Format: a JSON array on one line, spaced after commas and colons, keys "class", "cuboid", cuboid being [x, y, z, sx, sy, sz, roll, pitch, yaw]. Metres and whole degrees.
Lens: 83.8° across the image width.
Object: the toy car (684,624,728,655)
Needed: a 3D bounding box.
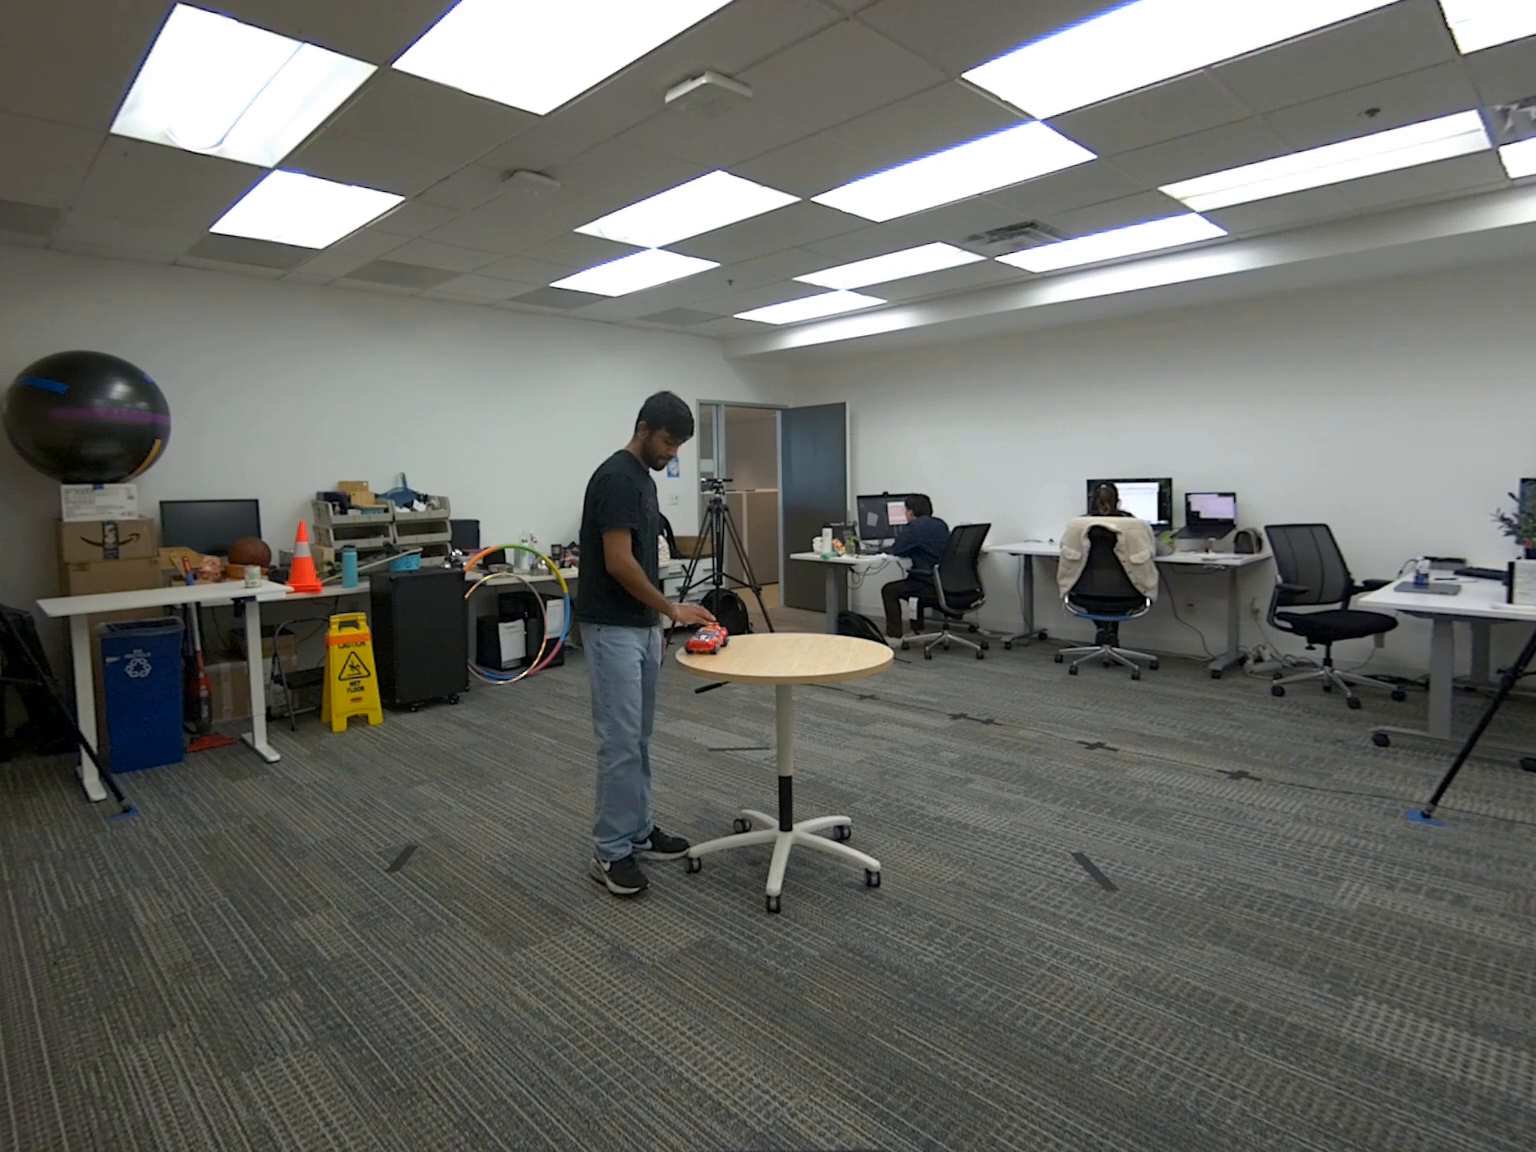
[{"class": "toy car", "cuboid": [-0.216, 0.231, 3.108, 0.132, 0.082, 0.255, 0, 17, 12]}]
